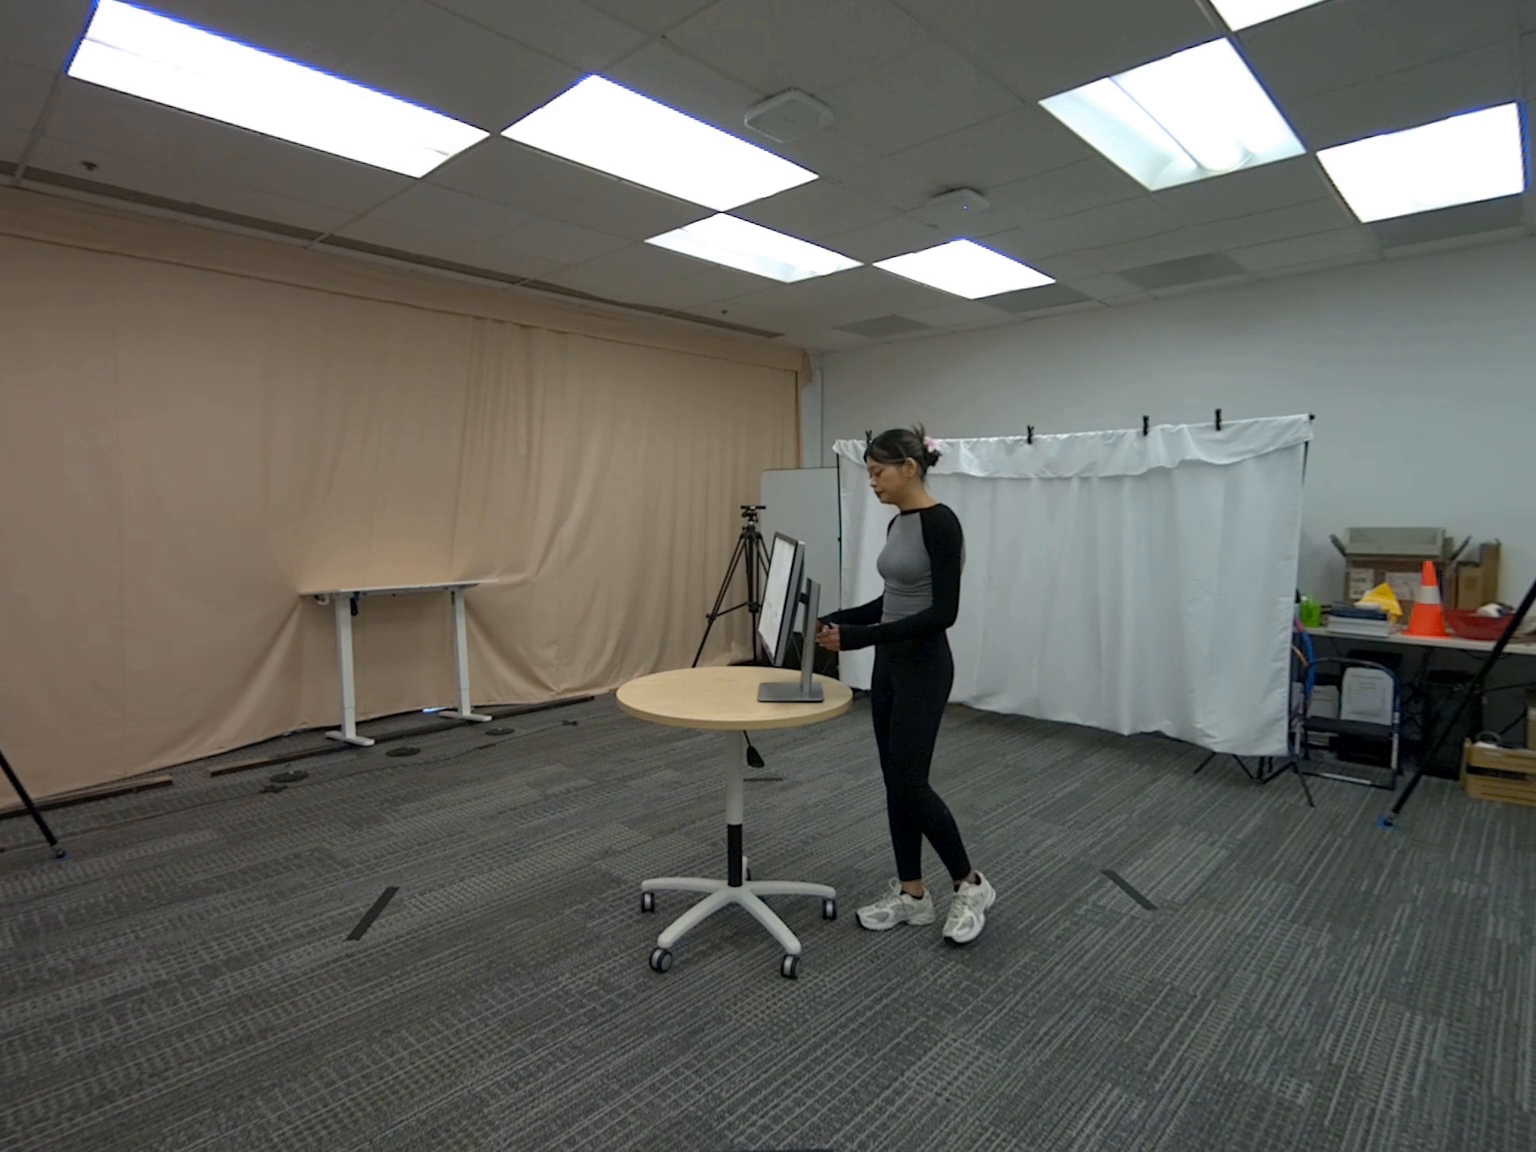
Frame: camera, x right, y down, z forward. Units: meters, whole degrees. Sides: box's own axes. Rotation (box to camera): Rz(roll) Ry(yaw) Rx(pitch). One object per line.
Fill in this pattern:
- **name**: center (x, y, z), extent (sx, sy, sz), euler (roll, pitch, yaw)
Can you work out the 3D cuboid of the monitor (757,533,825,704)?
- **monitor**: center (0.081, 0.132, 2.687), extent (0.186, 0.521, 0.544), euler (-2, 5, -7)
